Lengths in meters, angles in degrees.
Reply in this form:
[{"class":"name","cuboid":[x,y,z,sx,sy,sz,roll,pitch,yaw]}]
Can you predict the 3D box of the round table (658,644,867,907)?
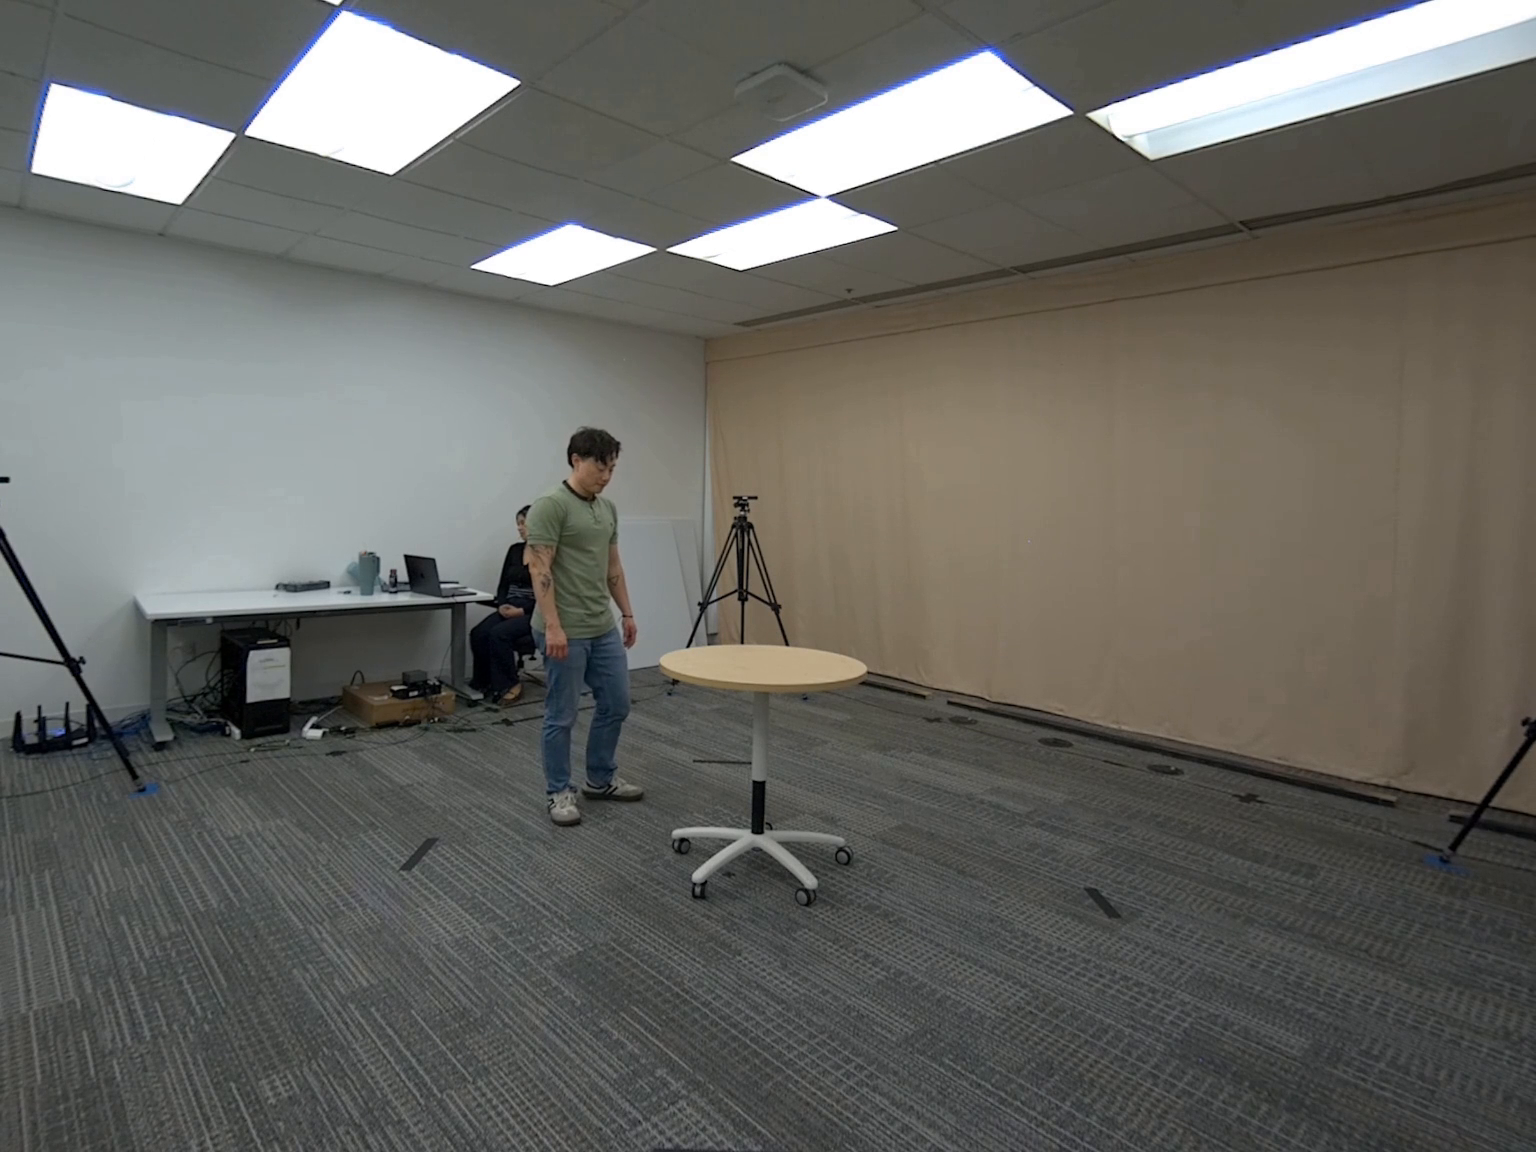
[{"class":"round table","cuboid":[-0.038,0.715,3.130,0.763,0.792,0.766,1,4,-1]}]
